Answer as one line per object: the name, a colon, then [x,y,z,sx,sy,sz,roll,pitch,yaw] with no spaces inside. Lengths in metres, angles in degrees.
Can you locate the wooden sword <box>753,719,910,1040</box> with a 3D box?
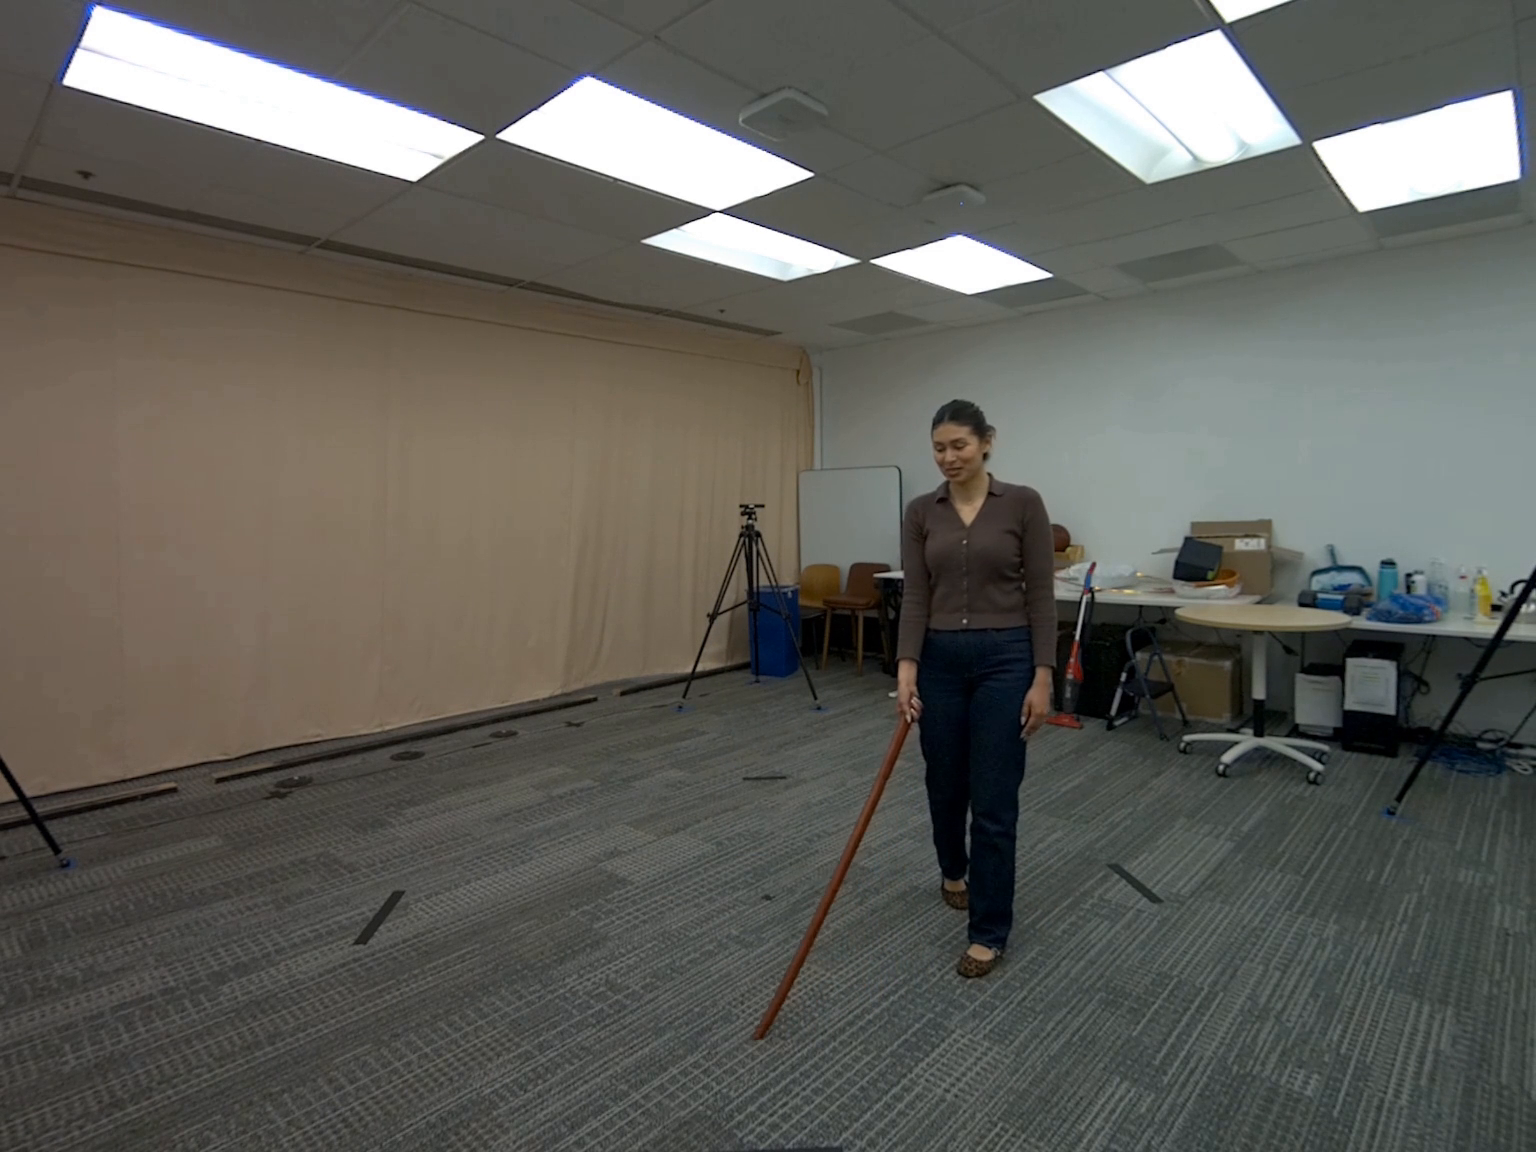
wooden sword: [0.219,0.804,2.369,0.053,1.024,0.023,10,-28,43]
